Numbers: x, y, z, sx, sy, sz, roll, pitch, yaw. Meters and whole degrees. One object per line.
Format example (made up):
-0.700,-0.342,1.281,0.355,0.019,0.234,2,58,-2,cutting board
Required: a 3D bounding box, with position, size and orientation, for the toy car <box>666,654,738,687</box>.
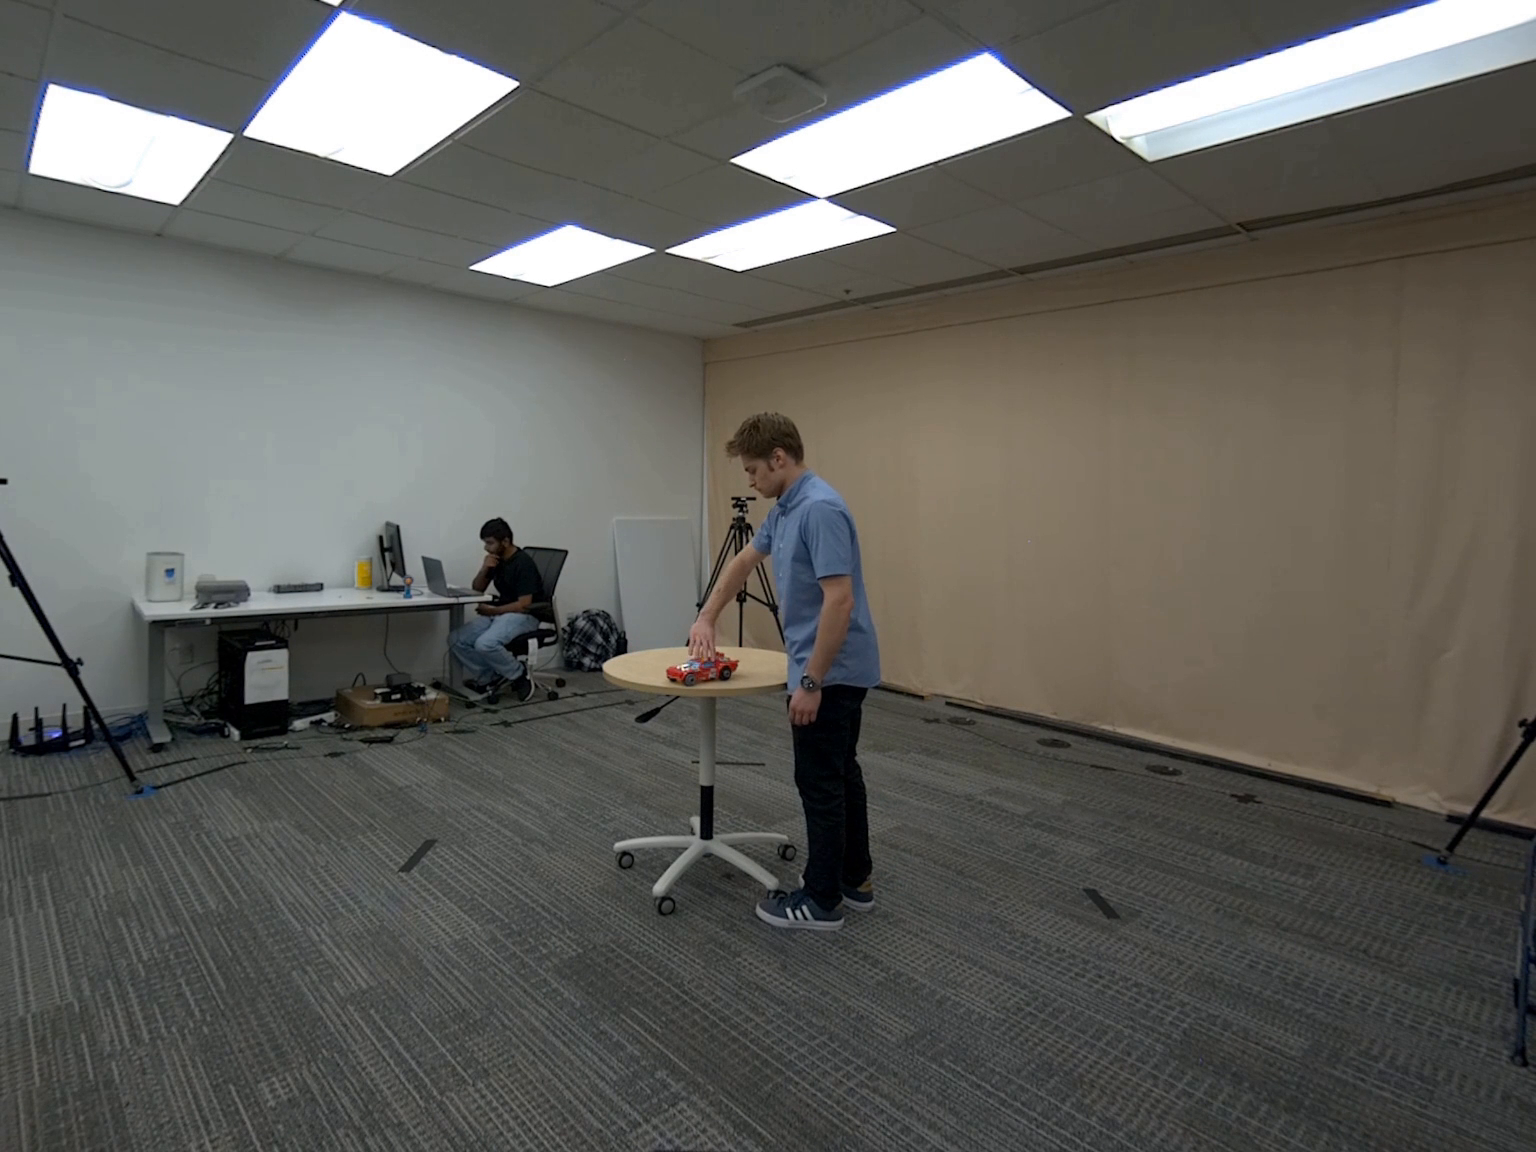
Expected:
-0.212,0.318,2.810,0.250,0.082,0.133,-17,14,-36,toy car
